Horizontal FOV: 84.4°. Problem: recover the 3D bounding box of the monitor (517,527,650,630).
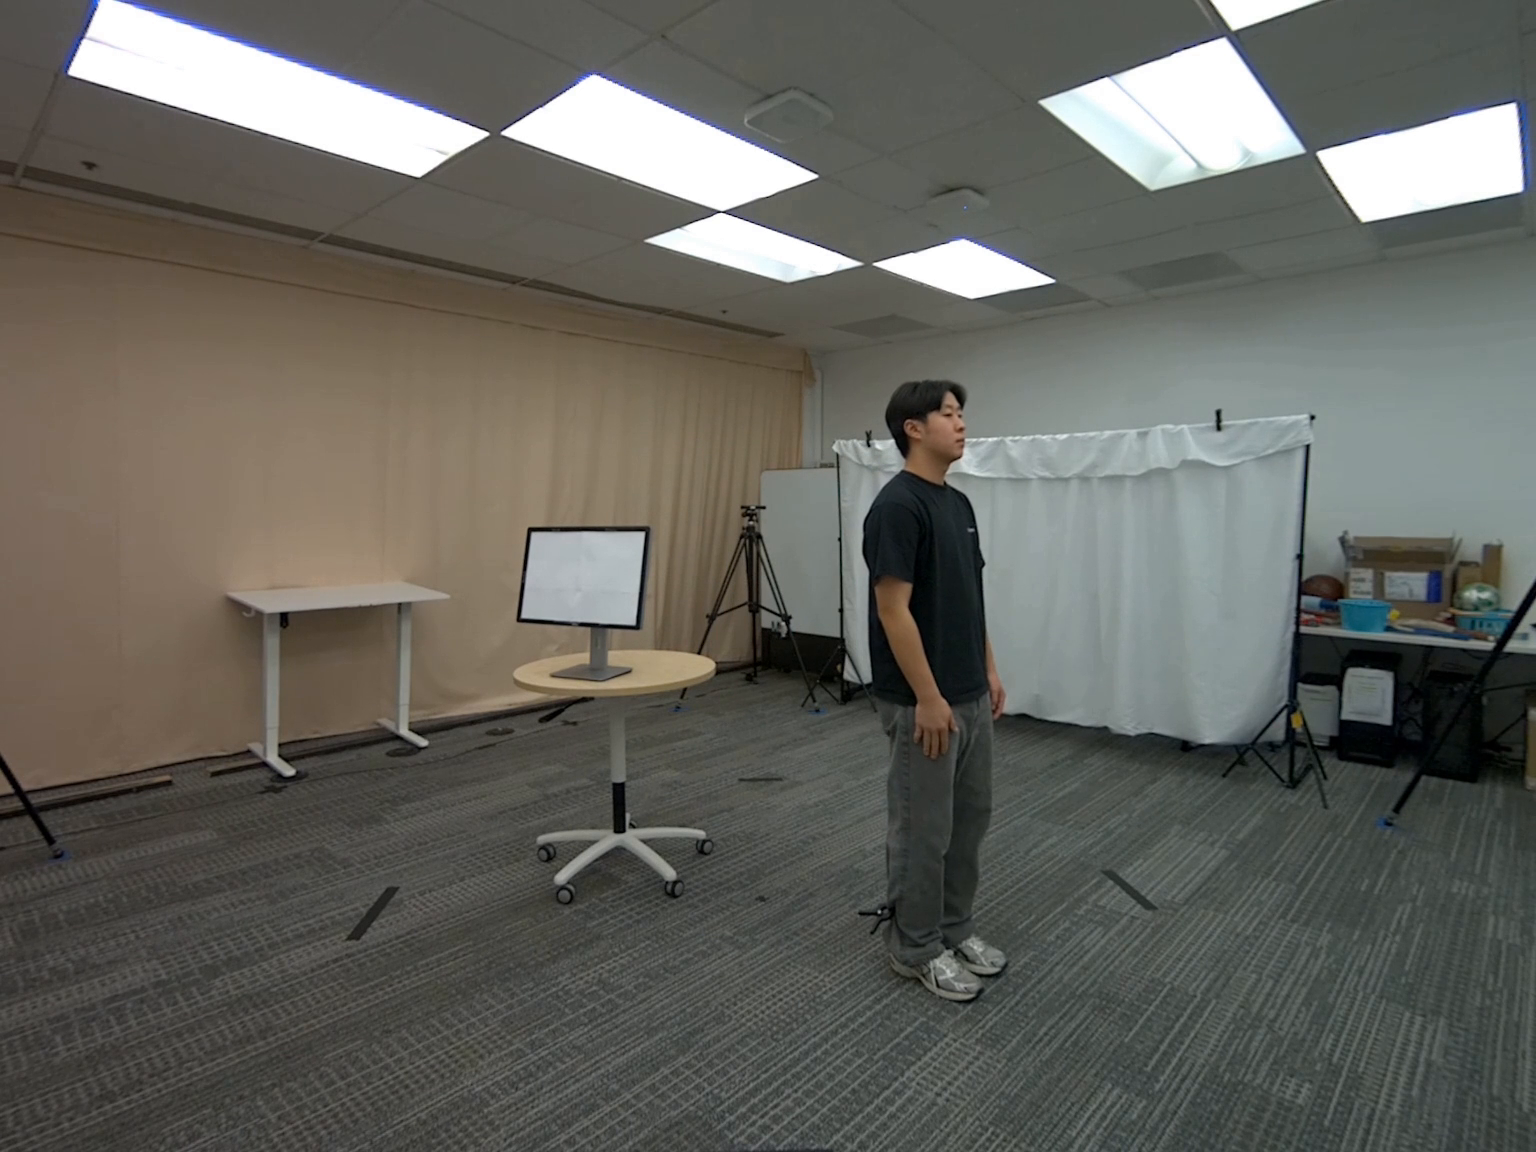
[{"bbox_3d":[-0.659,0.103,3.074,0.578,0.564,0.216,1,6,30],"label":"monitor"}]
